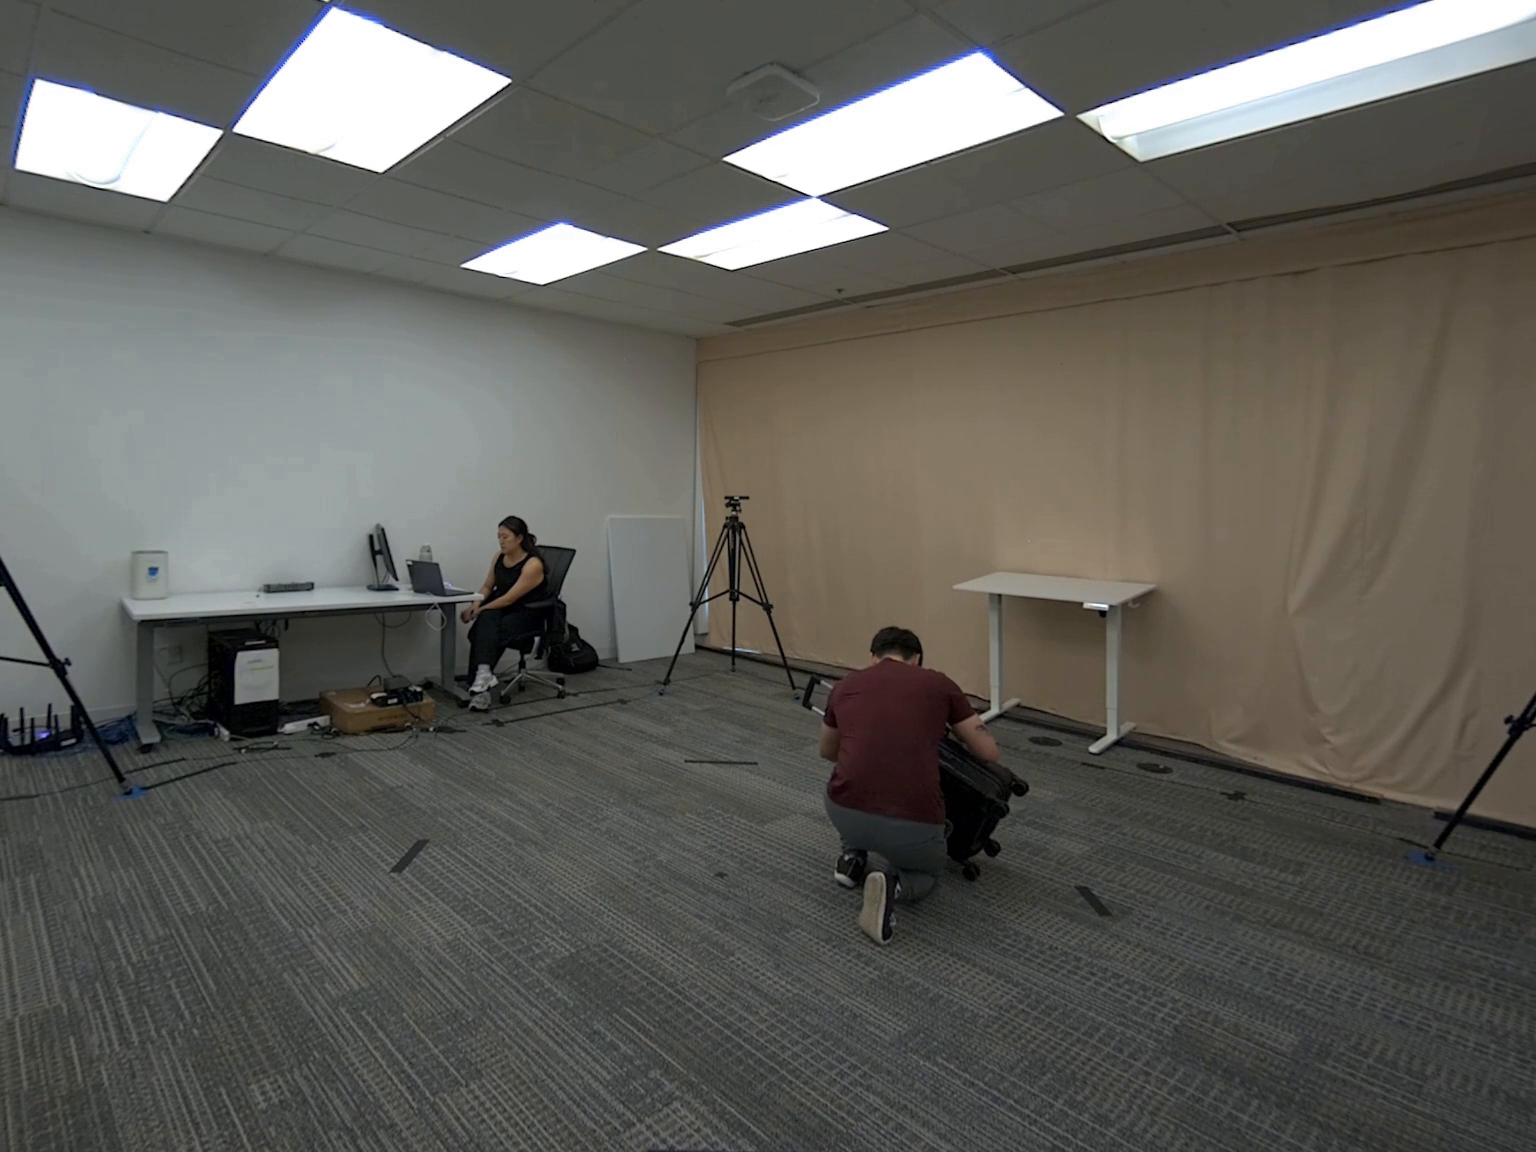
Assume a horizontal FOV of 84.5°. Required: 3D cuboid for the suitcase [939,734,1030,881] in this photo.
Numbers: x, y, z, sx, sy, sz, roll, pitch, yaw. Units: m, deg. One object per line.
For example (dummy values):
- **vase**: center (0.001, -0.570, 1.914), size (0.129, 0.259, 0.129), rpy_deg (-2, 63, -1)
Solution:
- **suitcase**: center (0.501, 0.723, 3.352), size (1.006, 0.380, 0.252), rpy_deg (30, 26, 30)
